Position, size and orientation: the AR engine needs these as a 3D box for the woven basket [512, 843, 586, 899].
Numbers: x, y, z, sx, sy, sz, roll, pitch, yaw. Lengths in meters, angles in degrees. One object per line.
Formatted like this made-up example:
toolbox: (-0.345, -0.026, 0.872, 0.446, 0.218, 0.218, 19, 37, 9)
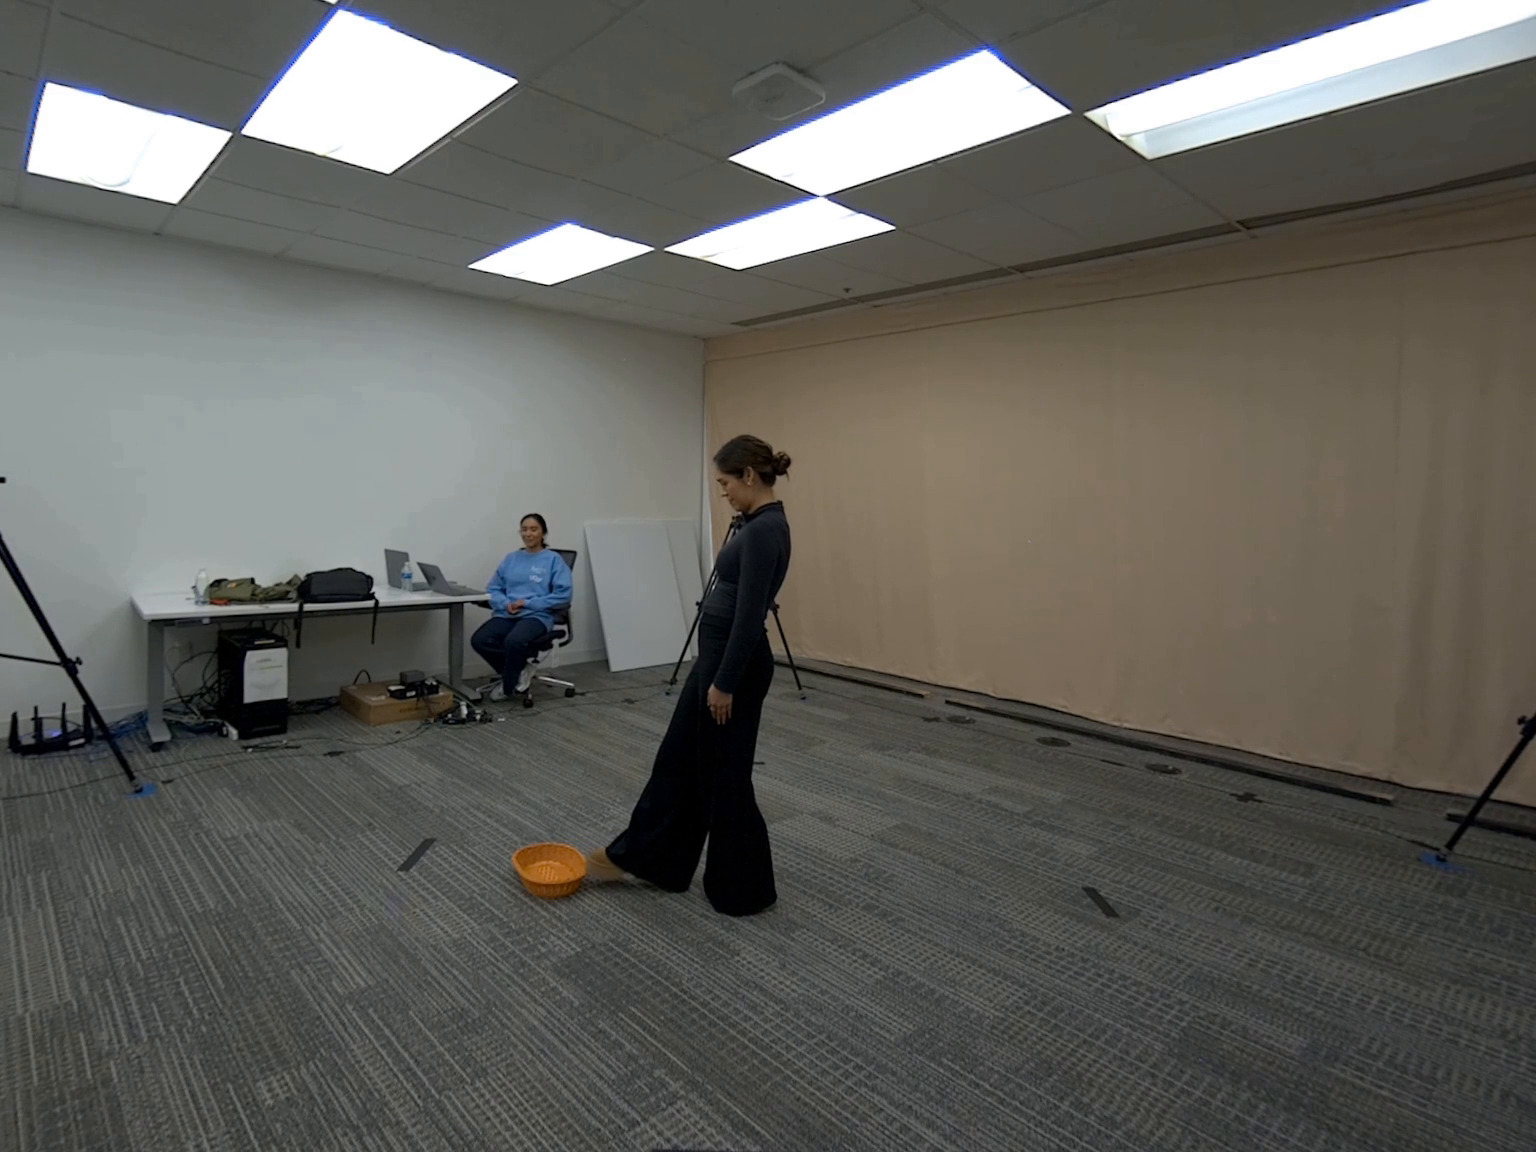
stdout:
woven basket: (-0.782, 1.053, 3.021, 0.247, 0.073, 0.358, 0, 5, -27)
